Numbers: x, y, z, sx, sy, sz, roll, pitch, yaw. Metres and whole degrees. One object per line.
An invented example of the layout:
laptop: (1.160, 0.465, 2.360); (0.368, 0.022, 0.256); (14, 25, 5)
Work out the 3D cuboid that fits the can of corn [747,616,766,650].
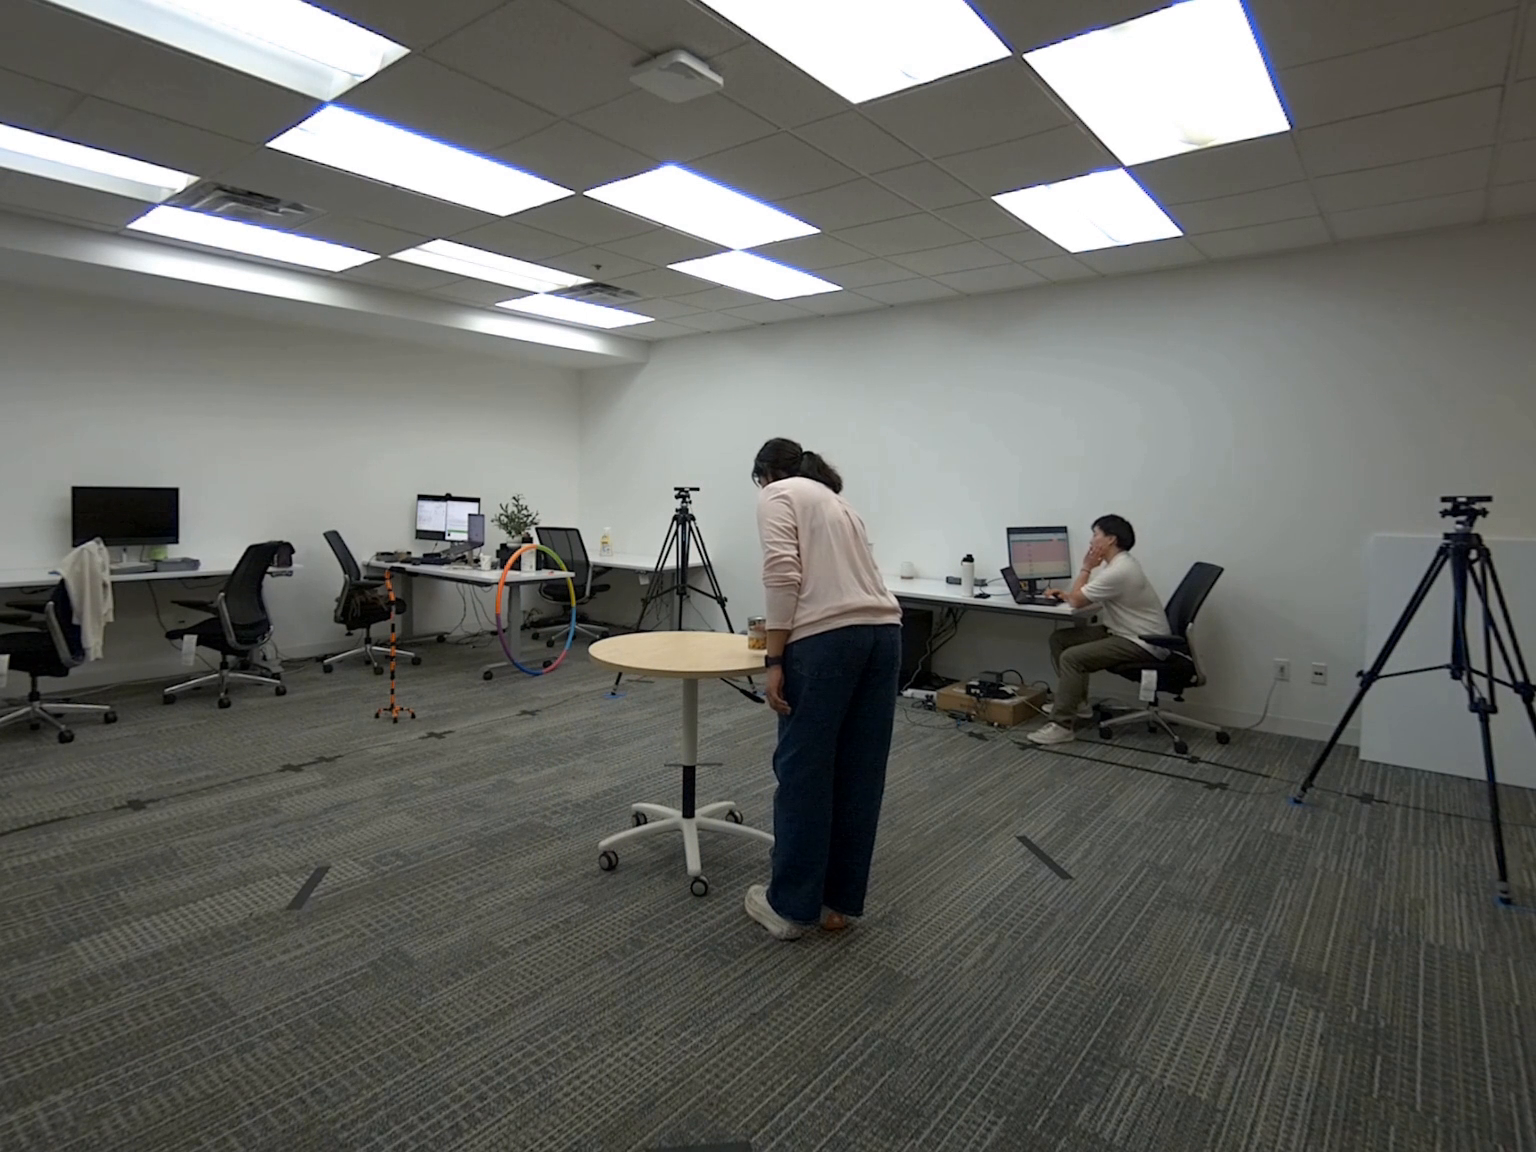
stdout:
can of corn: (-0.043, 0.206, 3.095); (0.074, 0.111, 0.074); (4, 1, -2)
